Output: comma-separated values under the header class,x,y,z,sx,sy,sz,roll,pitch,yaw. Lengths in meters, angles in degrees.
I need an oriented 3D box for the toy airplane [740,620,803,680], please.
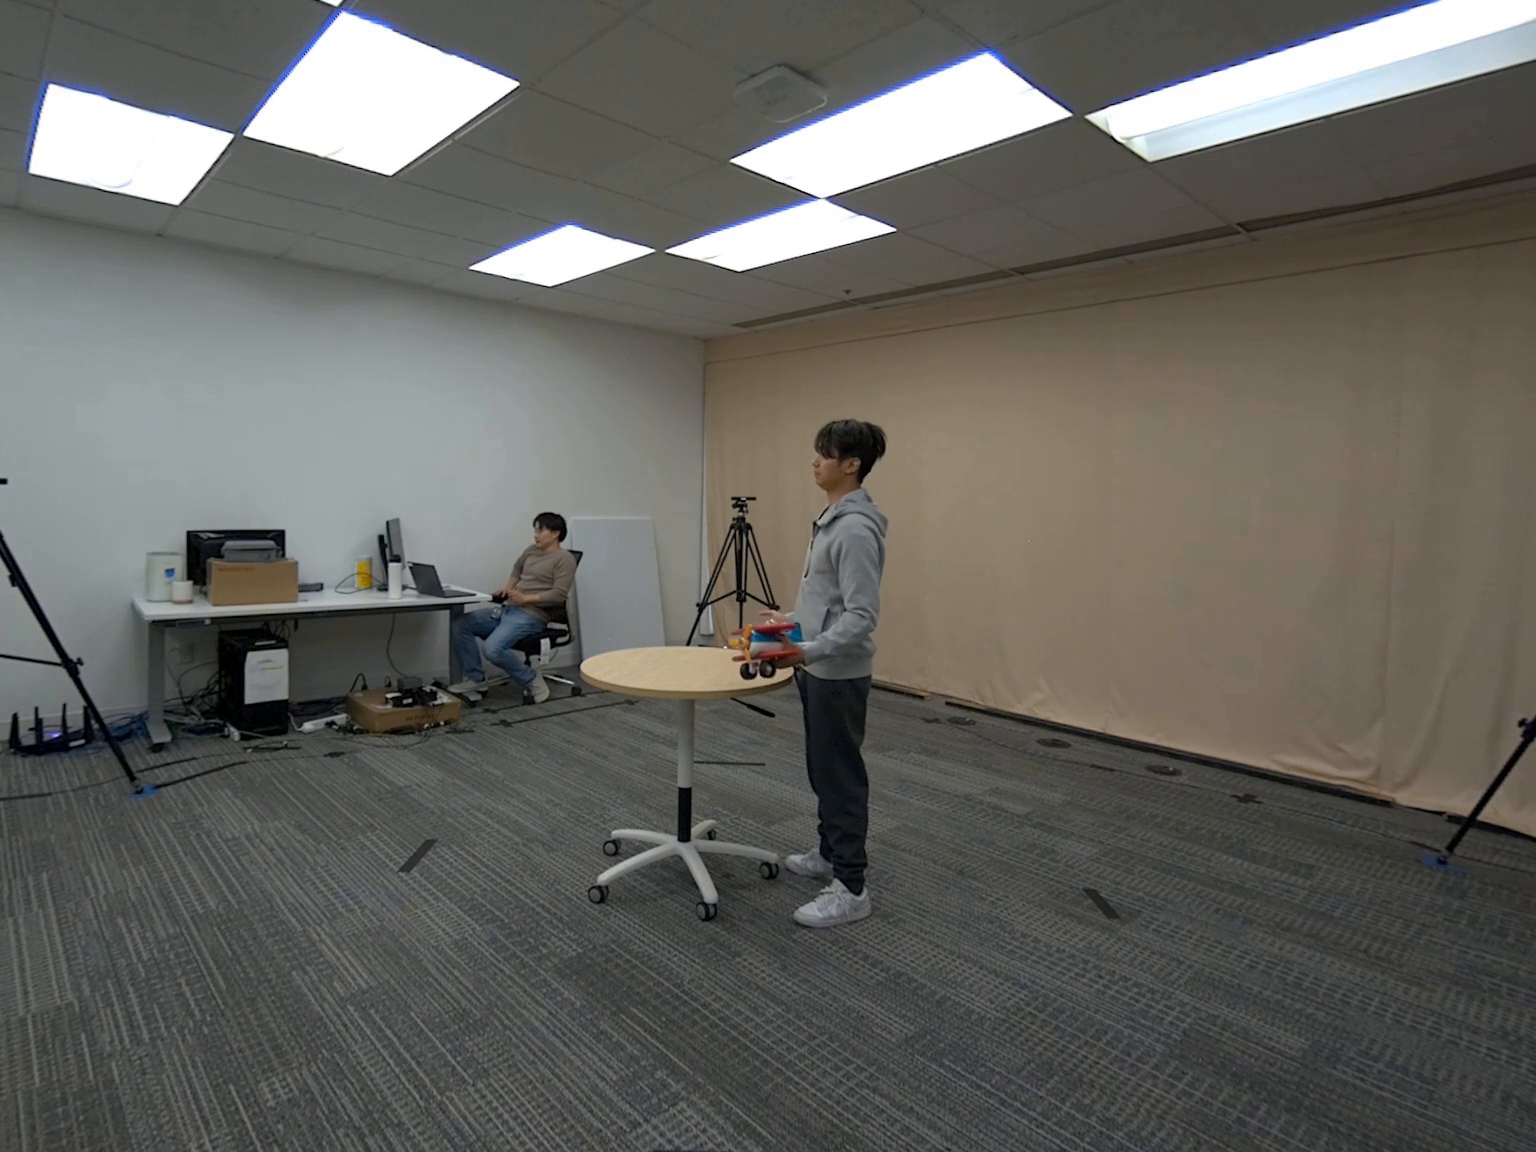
class,x,y,z,sx,sy,sz,roll,pitch,yaw
toy airplane,-0.014,0.206,2.611,0.254,0.156,0.256,-14,0,19
